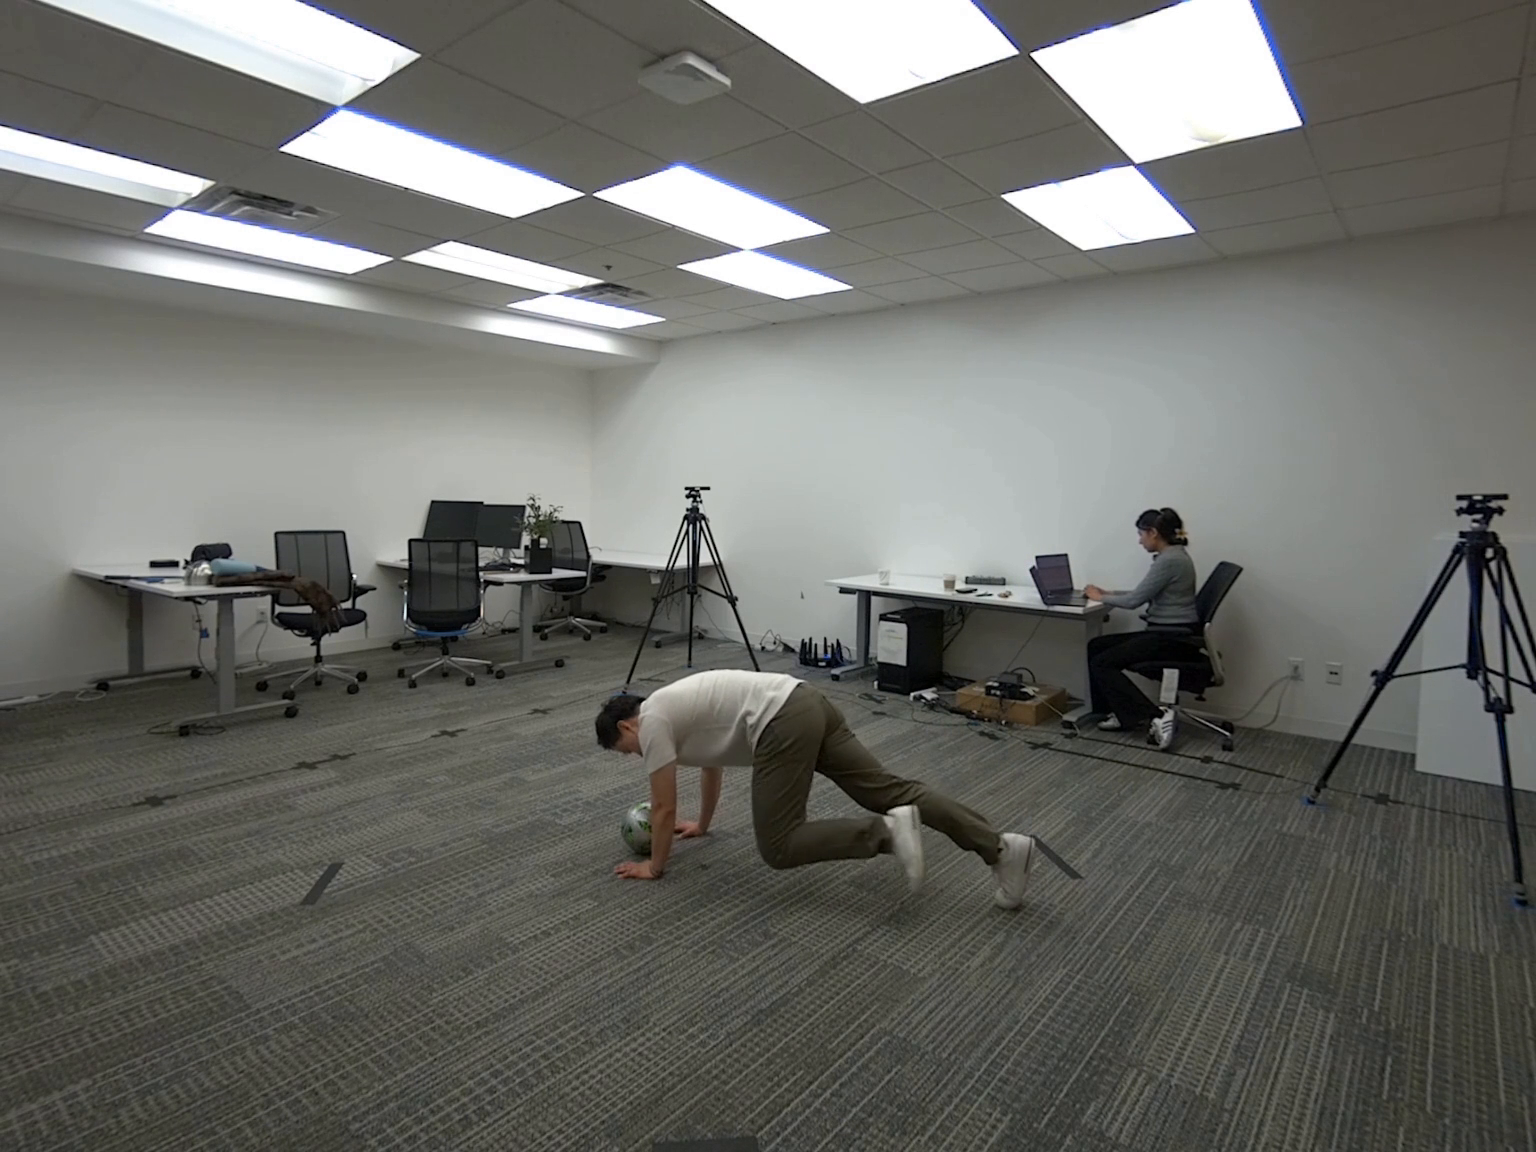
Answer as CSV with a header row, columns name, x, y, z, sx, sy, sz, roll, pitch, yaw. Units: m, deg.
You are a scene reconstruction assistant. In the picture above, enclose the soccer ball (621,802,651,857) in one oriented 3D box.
name,x,y,z,sx,sy,sz,roll,pitch,yaw
soccer ball,-0.476,0.954,3.236,0.187,0.187,0.188,1,4,-2
